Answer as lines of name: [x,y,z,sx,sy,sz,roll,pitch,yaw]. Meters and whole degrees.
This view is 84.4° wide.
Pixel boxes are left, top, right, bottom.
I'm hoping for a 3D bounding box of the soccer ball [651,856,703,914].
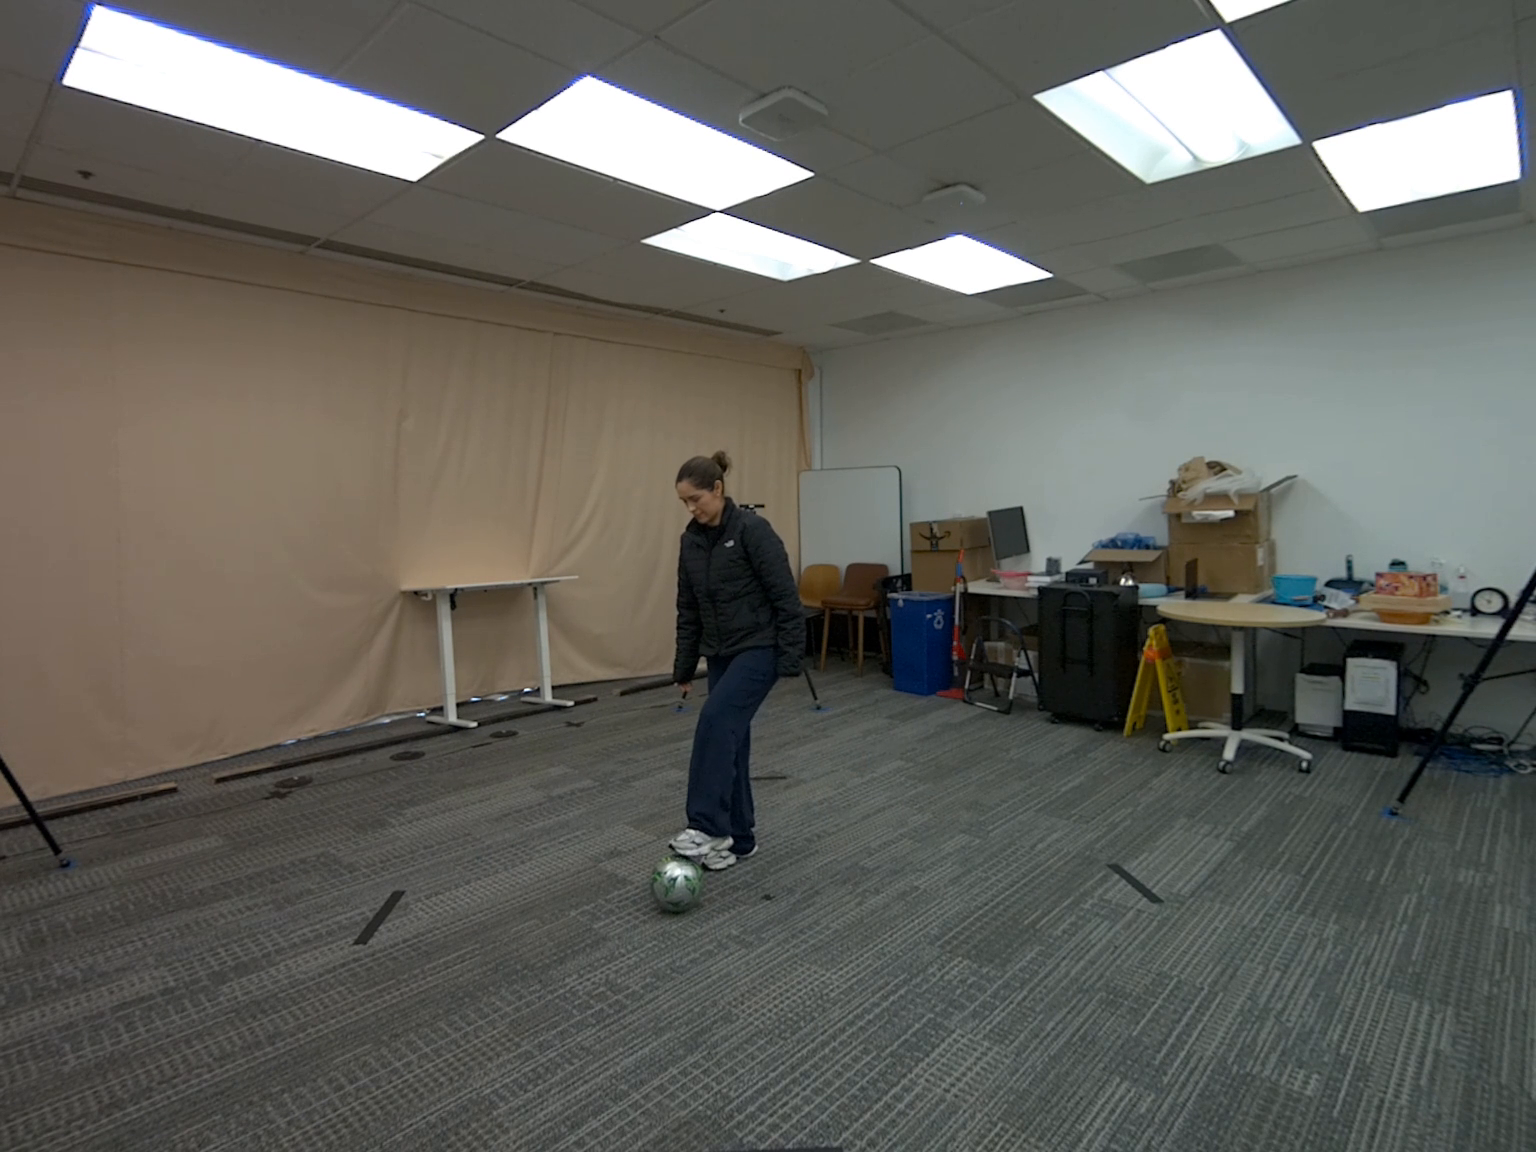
soccer ball: [-0.314,1.057,2.905,0.187,0.187,0.188,-1,4,-2]
